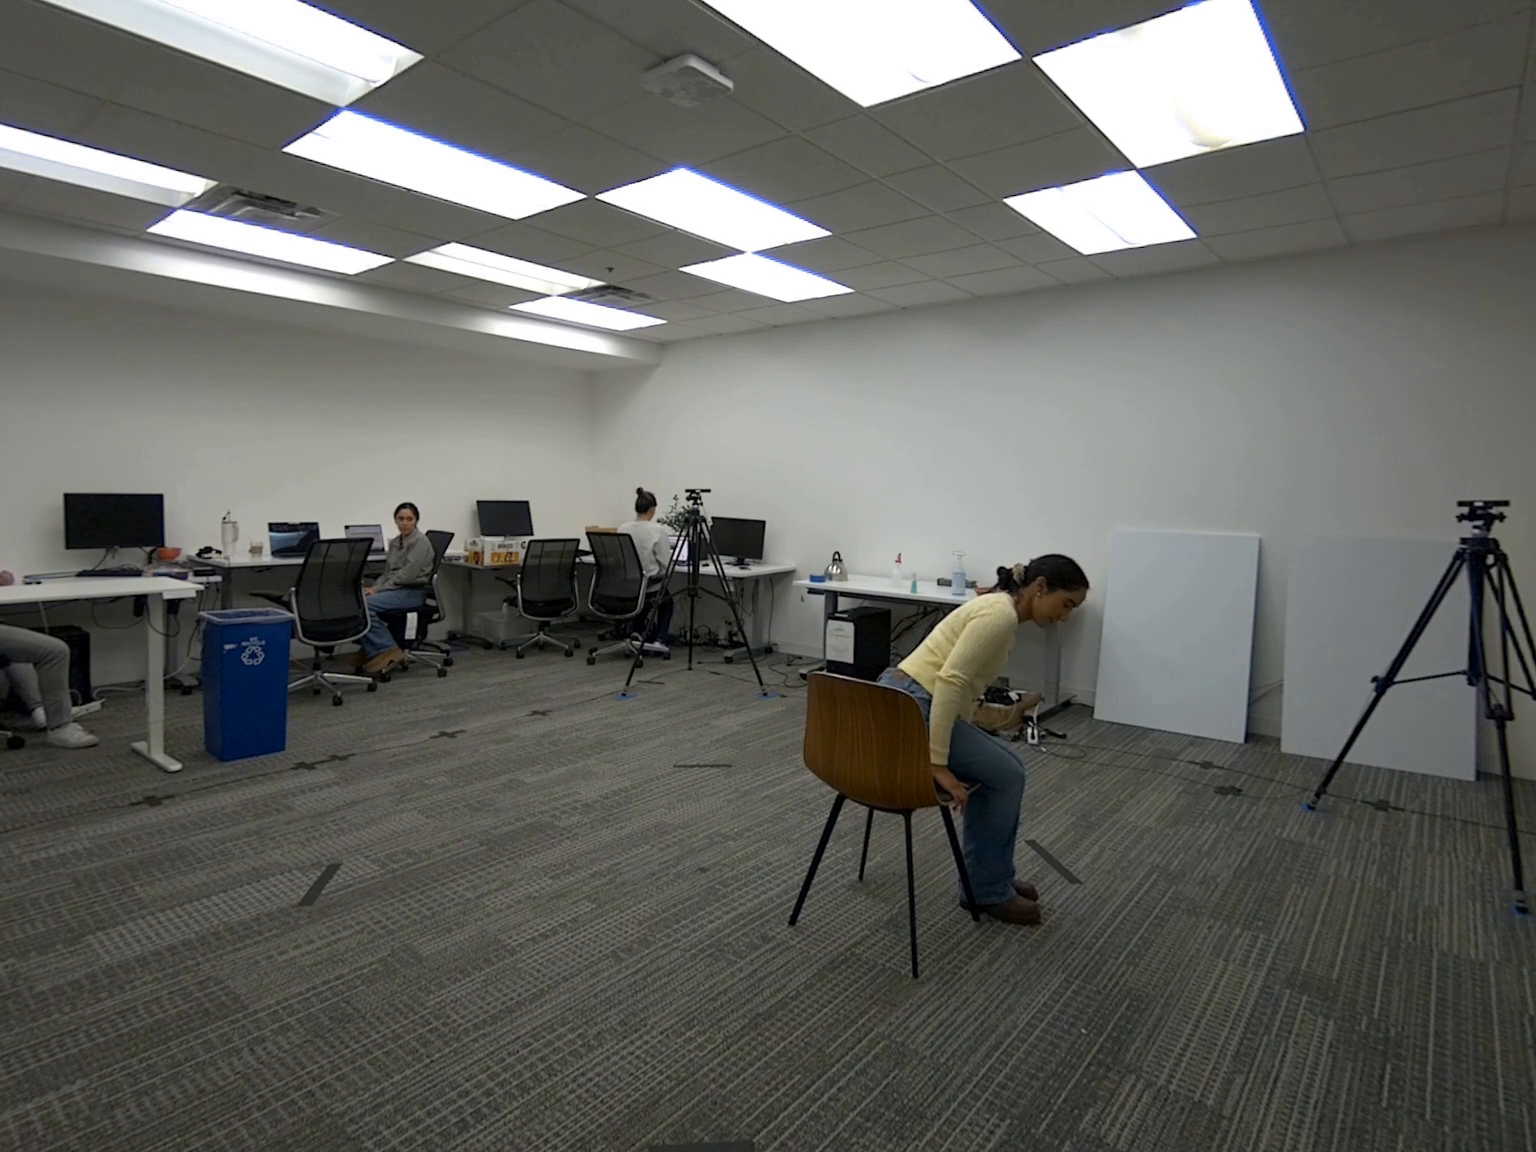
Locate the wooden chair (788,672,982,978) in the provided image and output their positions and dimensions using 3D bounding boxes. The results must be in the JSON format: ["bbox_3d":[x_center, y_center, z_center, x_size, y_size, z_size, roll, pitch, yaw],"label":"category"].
[{"bbox_3d":[0.387,0.698,2.740,0.494,0.872,0.509,4,8,38],"label":"wooden chair"}]
